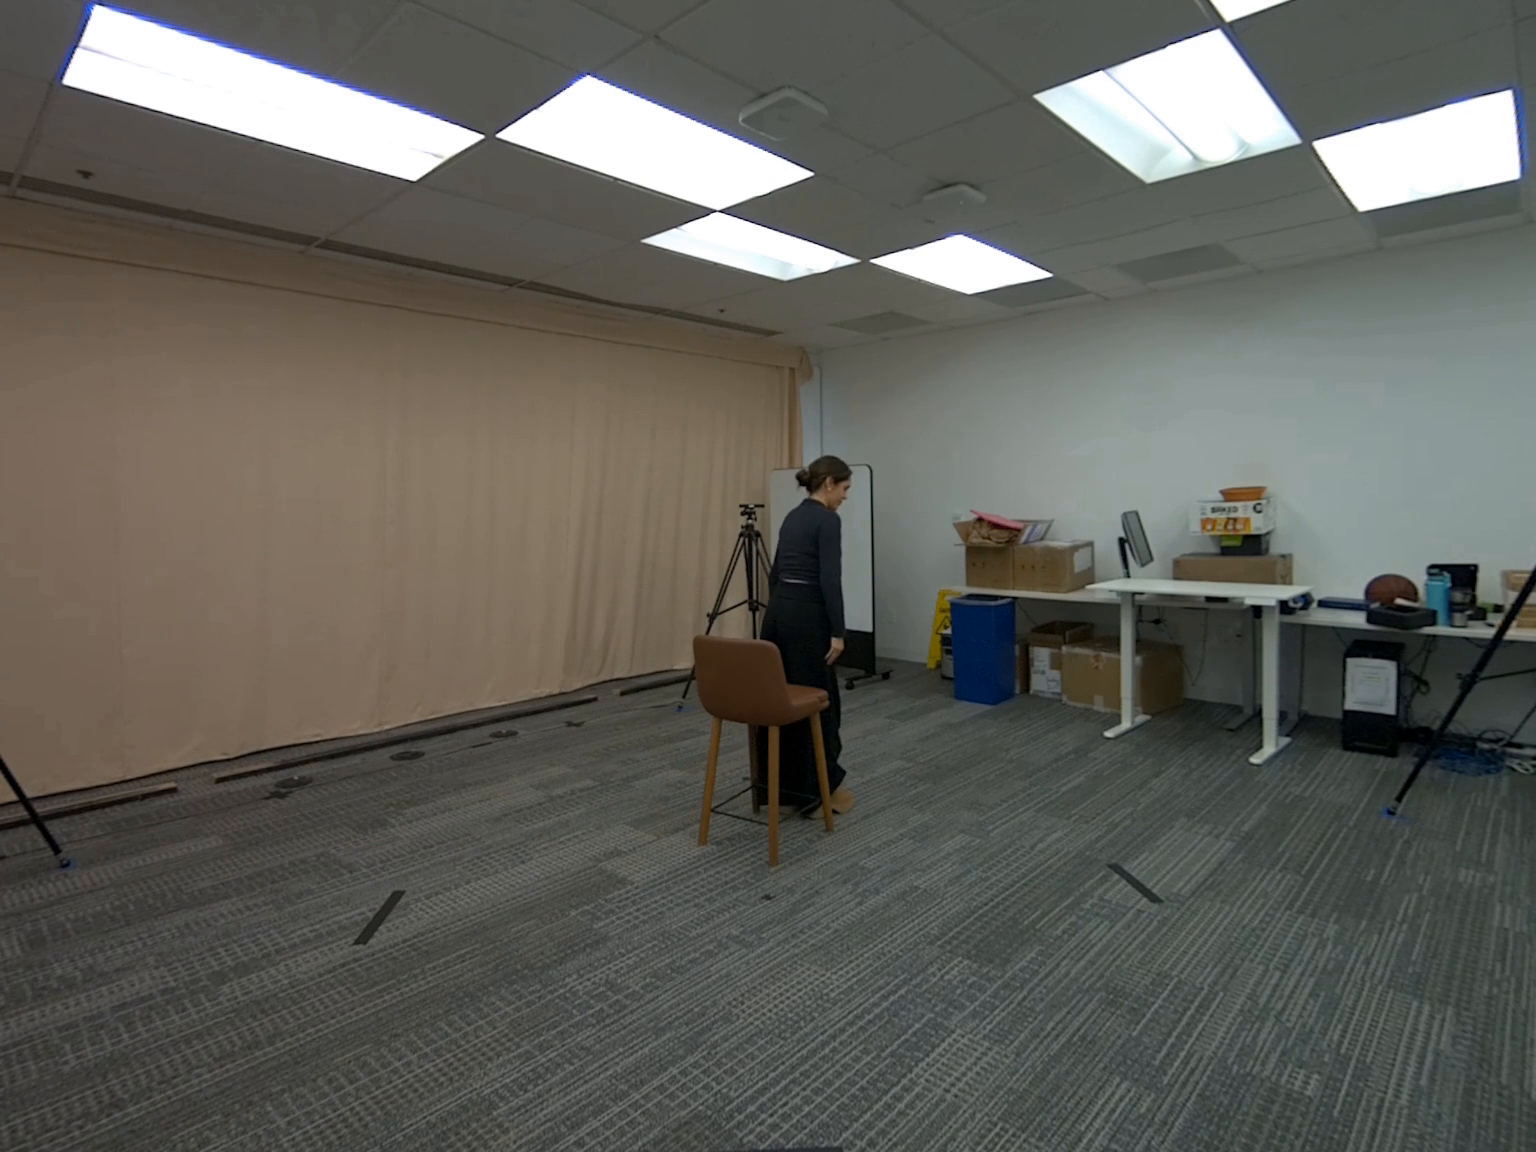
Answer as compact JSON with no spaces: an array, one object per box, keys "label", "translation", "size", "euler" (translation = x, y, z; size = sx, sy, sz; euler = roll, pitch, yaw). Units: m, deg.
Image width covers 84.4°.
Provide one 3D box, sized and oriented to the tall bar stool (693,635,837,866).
[{"label":"tall bar stool","translation":[-0.022,0.657,3.503],"size":[0.471,0.887,0.454],"euler":[1,5,36]}]
